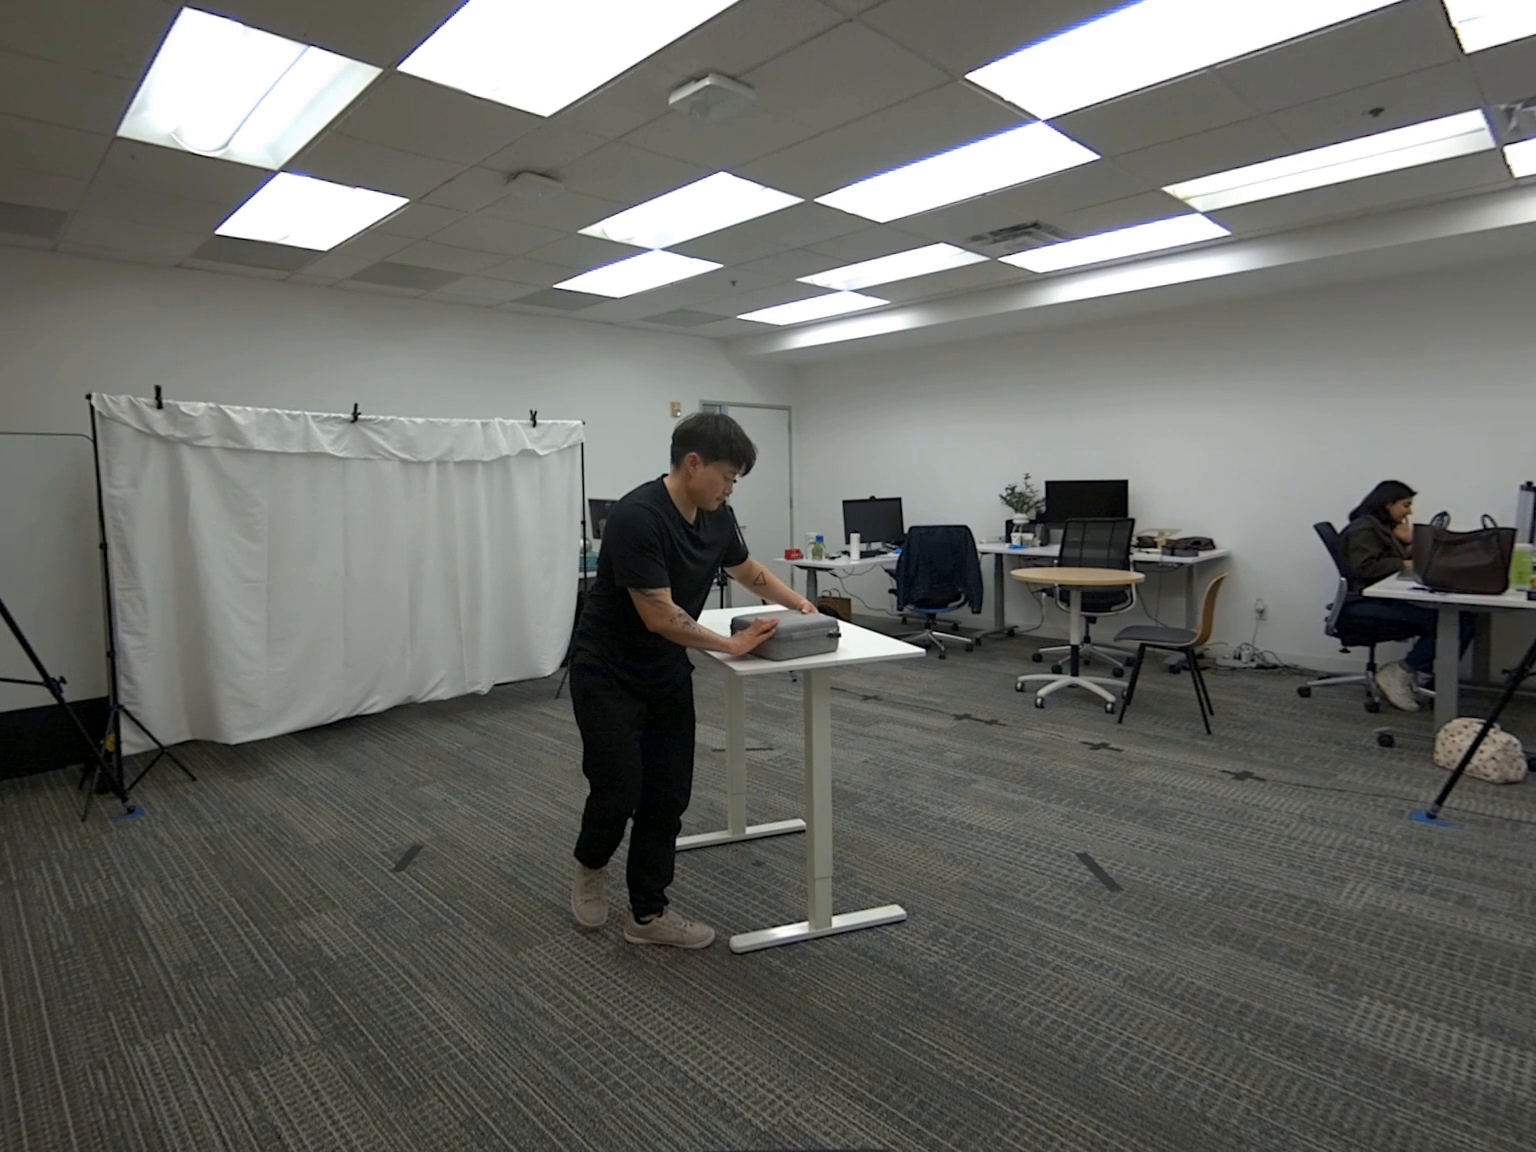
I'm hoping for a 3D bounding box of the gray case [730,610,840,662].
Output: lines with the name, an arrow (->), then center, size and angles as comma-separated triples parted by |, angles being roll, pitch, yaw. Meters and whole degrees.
gray case -> 0.048, 0.174, 2.581 | 0.251, 0.104, 0.268 | -7, 8, -33
